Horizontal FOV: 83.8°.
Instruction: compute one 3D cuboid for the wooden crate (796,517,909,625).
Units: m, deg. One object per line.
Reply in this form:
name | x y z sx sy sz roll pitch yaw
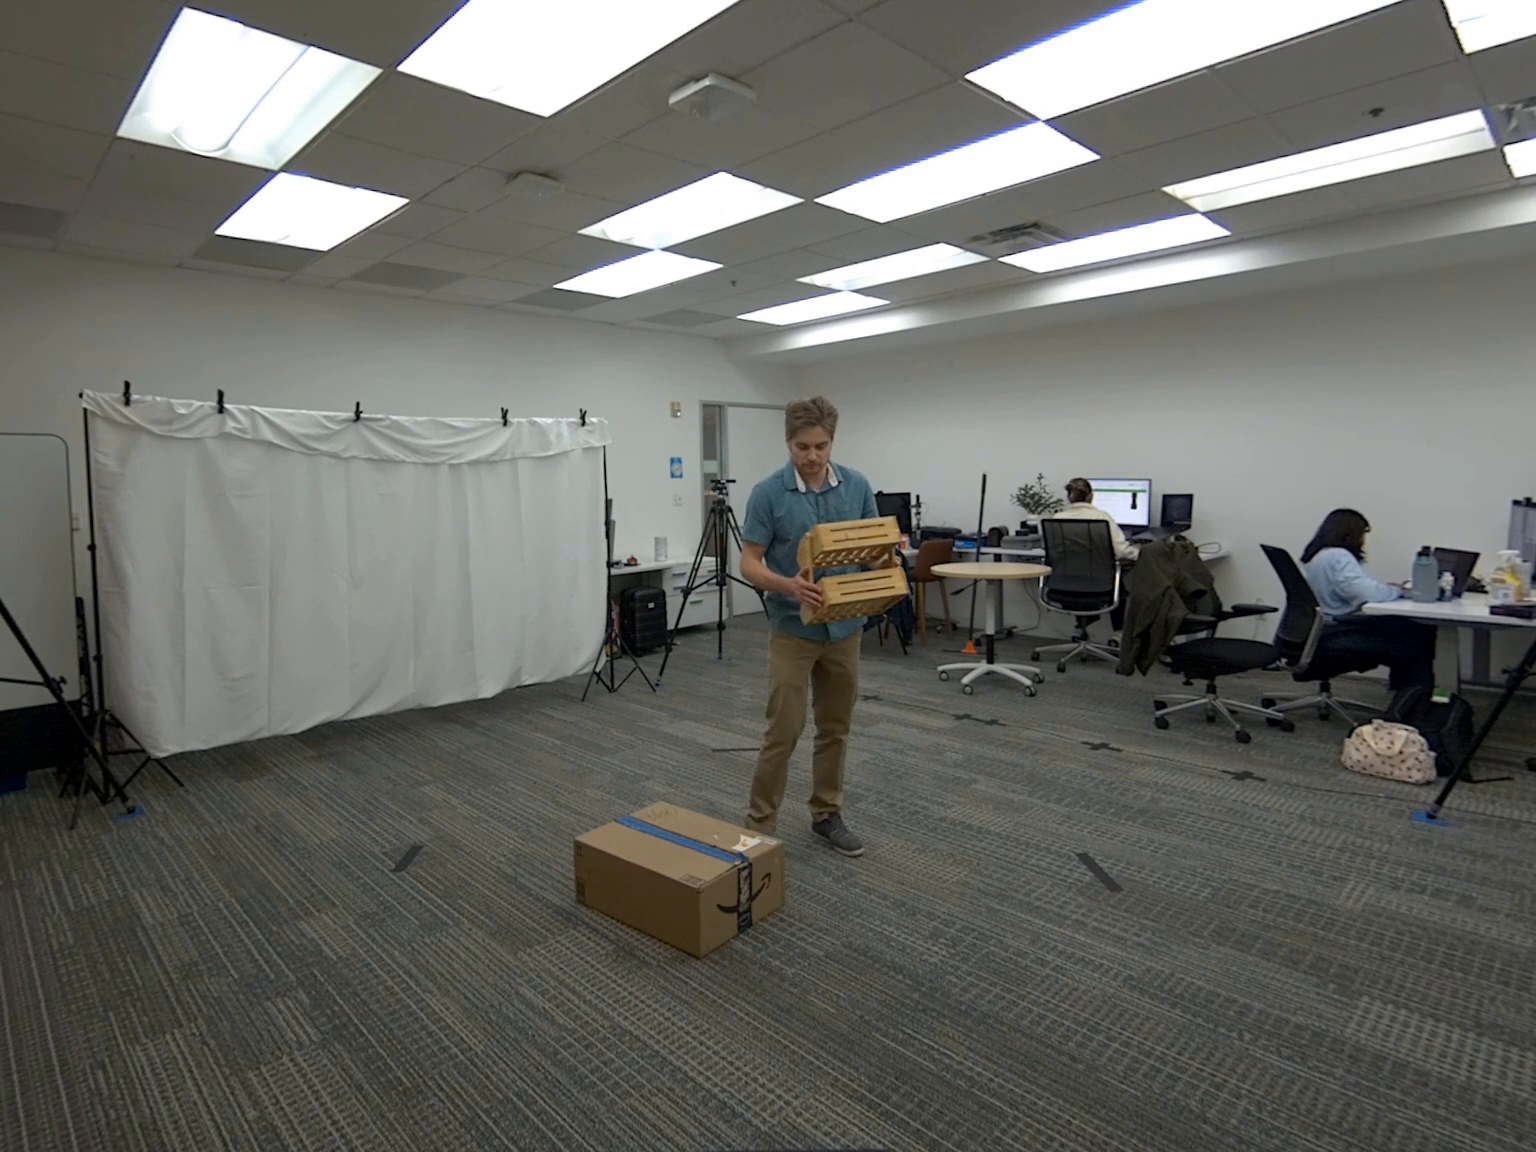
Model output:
wooden crate | 0.264 -0.015 2.928 0.319 0.279 0.301 -7 -19 -20
